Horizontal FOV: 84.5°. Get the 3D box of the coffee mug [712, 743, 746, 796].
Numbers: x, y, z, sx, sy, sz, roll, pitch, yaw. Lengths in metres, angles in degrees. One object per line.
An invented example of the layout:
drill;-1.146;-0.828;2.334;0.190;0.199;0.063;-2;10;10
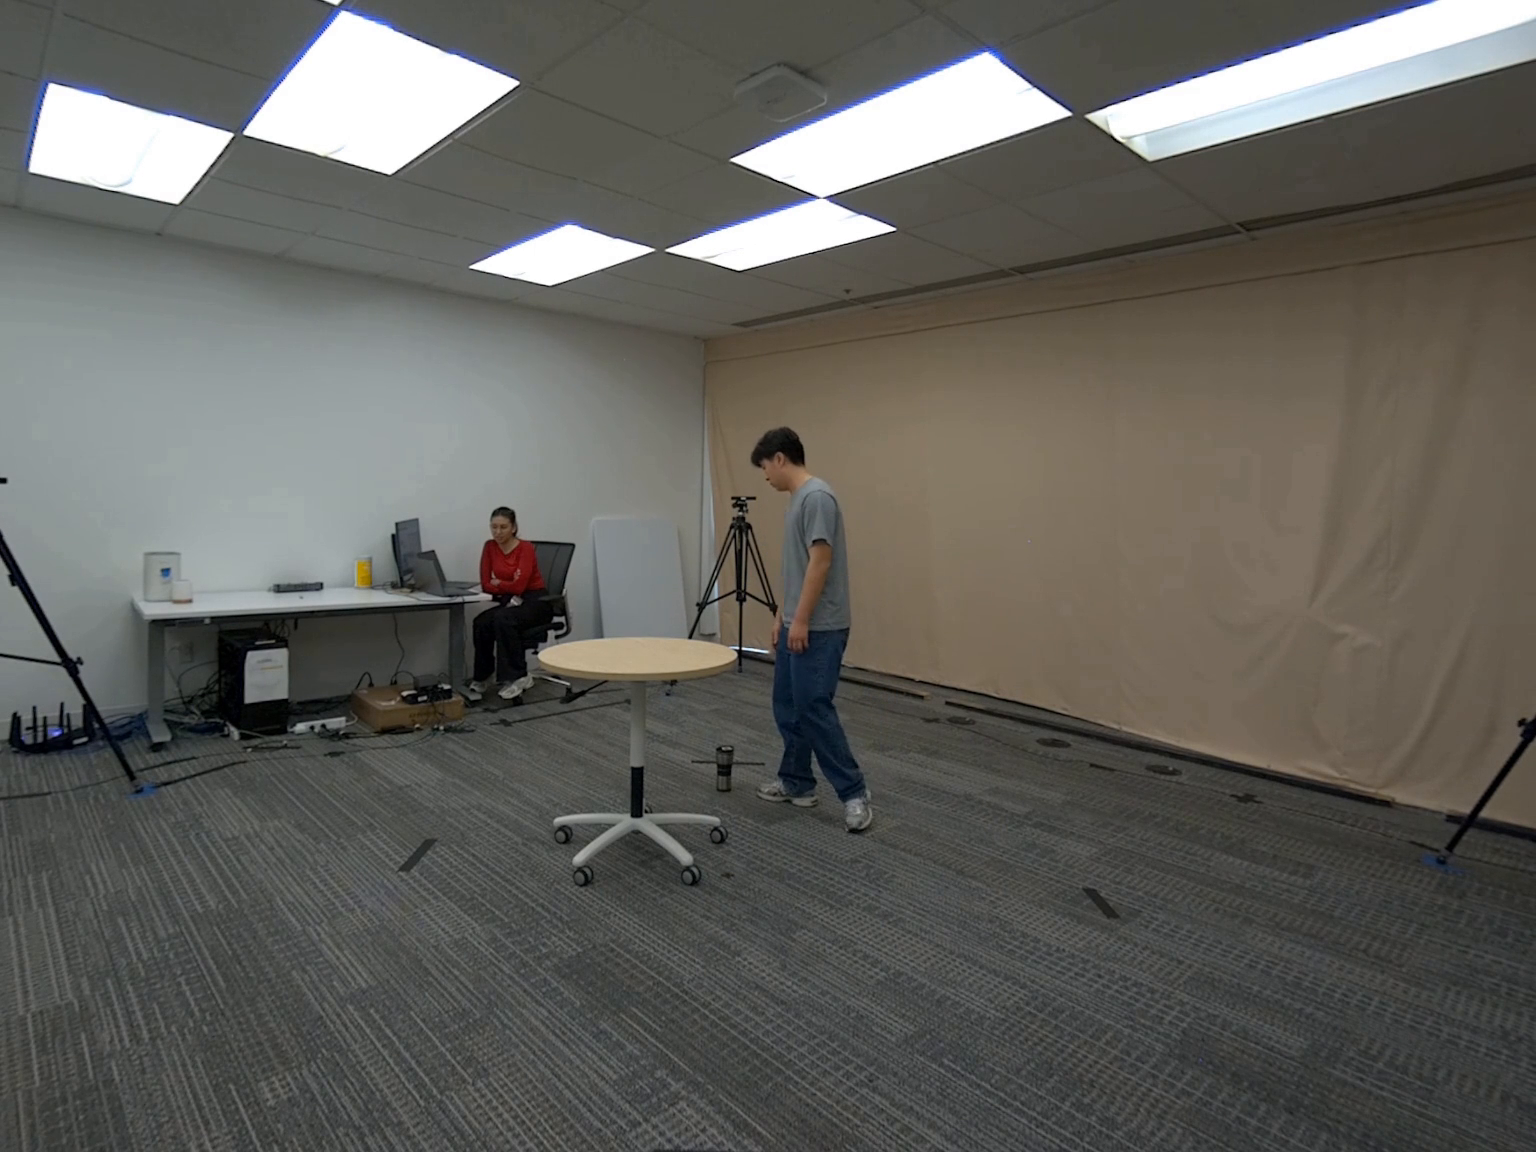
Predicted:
coffee mug;-0.187;0.919;4.038;0.119;0.203;0.090;-4;3;-41
